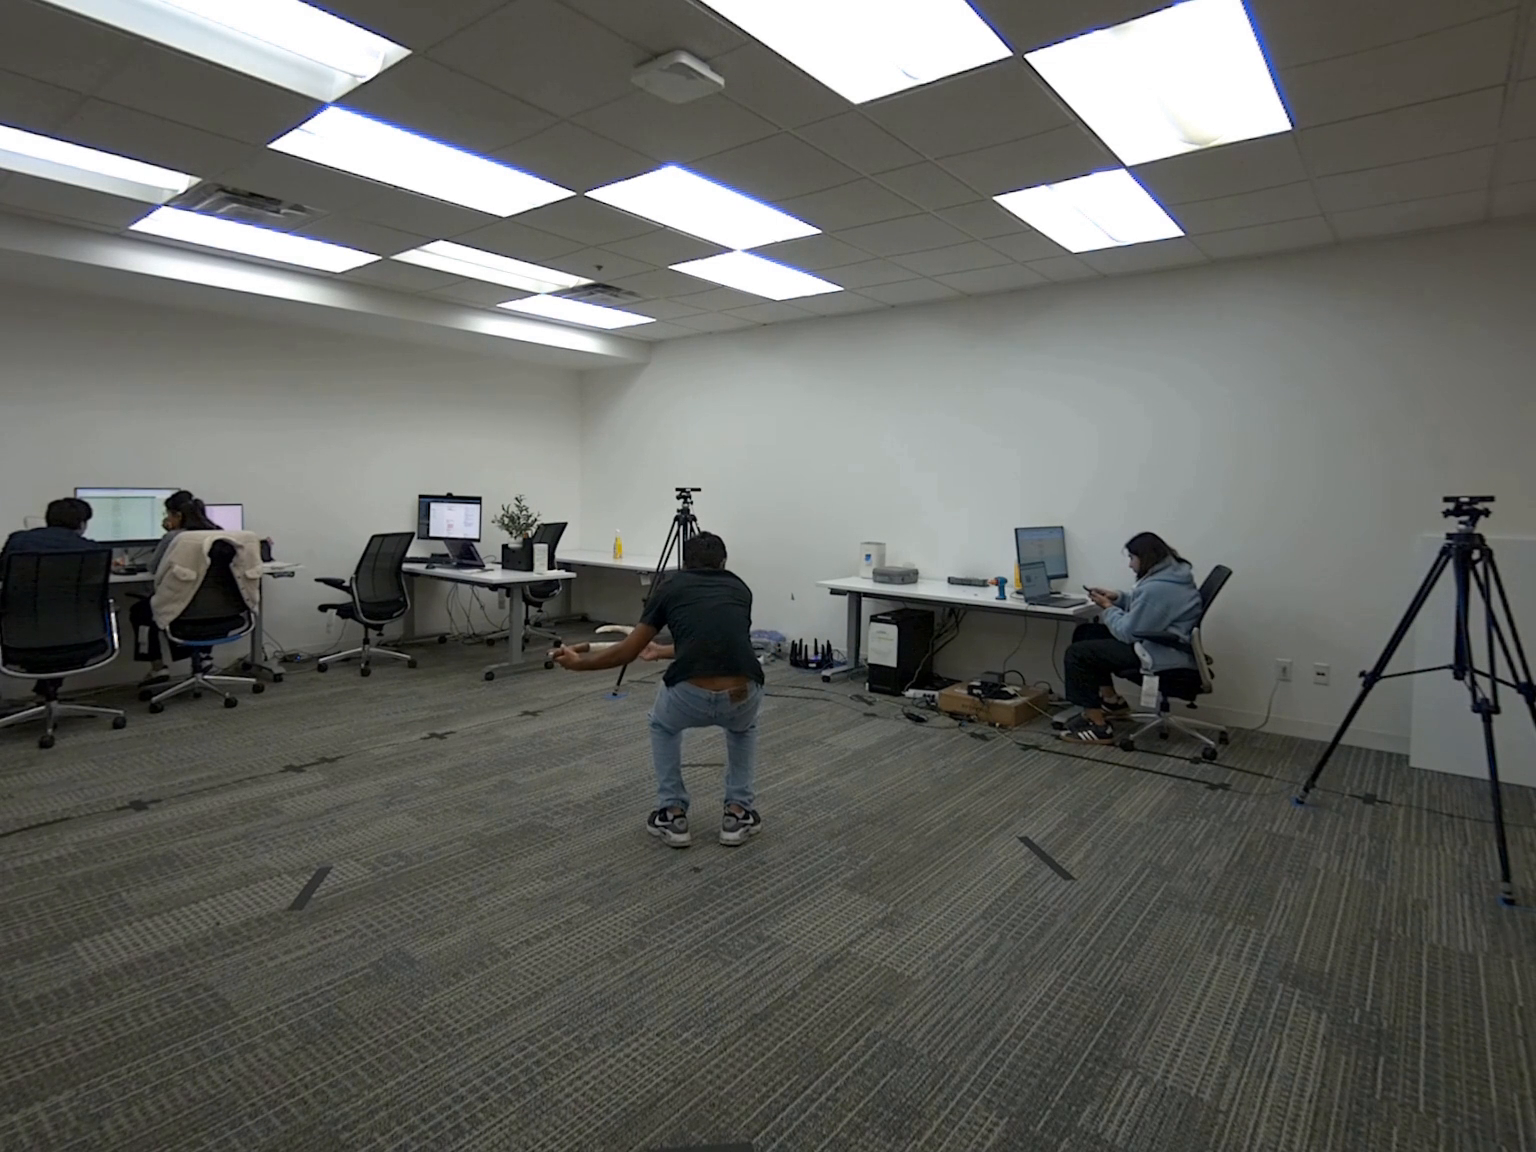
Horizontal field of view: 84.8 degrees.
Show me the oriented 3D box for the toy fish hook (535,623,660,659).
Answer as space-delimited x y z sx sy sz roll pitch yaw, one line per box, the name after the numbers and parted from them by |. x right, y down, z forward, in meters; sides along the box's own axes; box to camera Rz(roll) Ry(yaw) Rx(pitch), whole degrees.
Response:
-0.775 0.300 3.827 0.492 0.048 0.234 -5 20 -36 | toy fish hook
